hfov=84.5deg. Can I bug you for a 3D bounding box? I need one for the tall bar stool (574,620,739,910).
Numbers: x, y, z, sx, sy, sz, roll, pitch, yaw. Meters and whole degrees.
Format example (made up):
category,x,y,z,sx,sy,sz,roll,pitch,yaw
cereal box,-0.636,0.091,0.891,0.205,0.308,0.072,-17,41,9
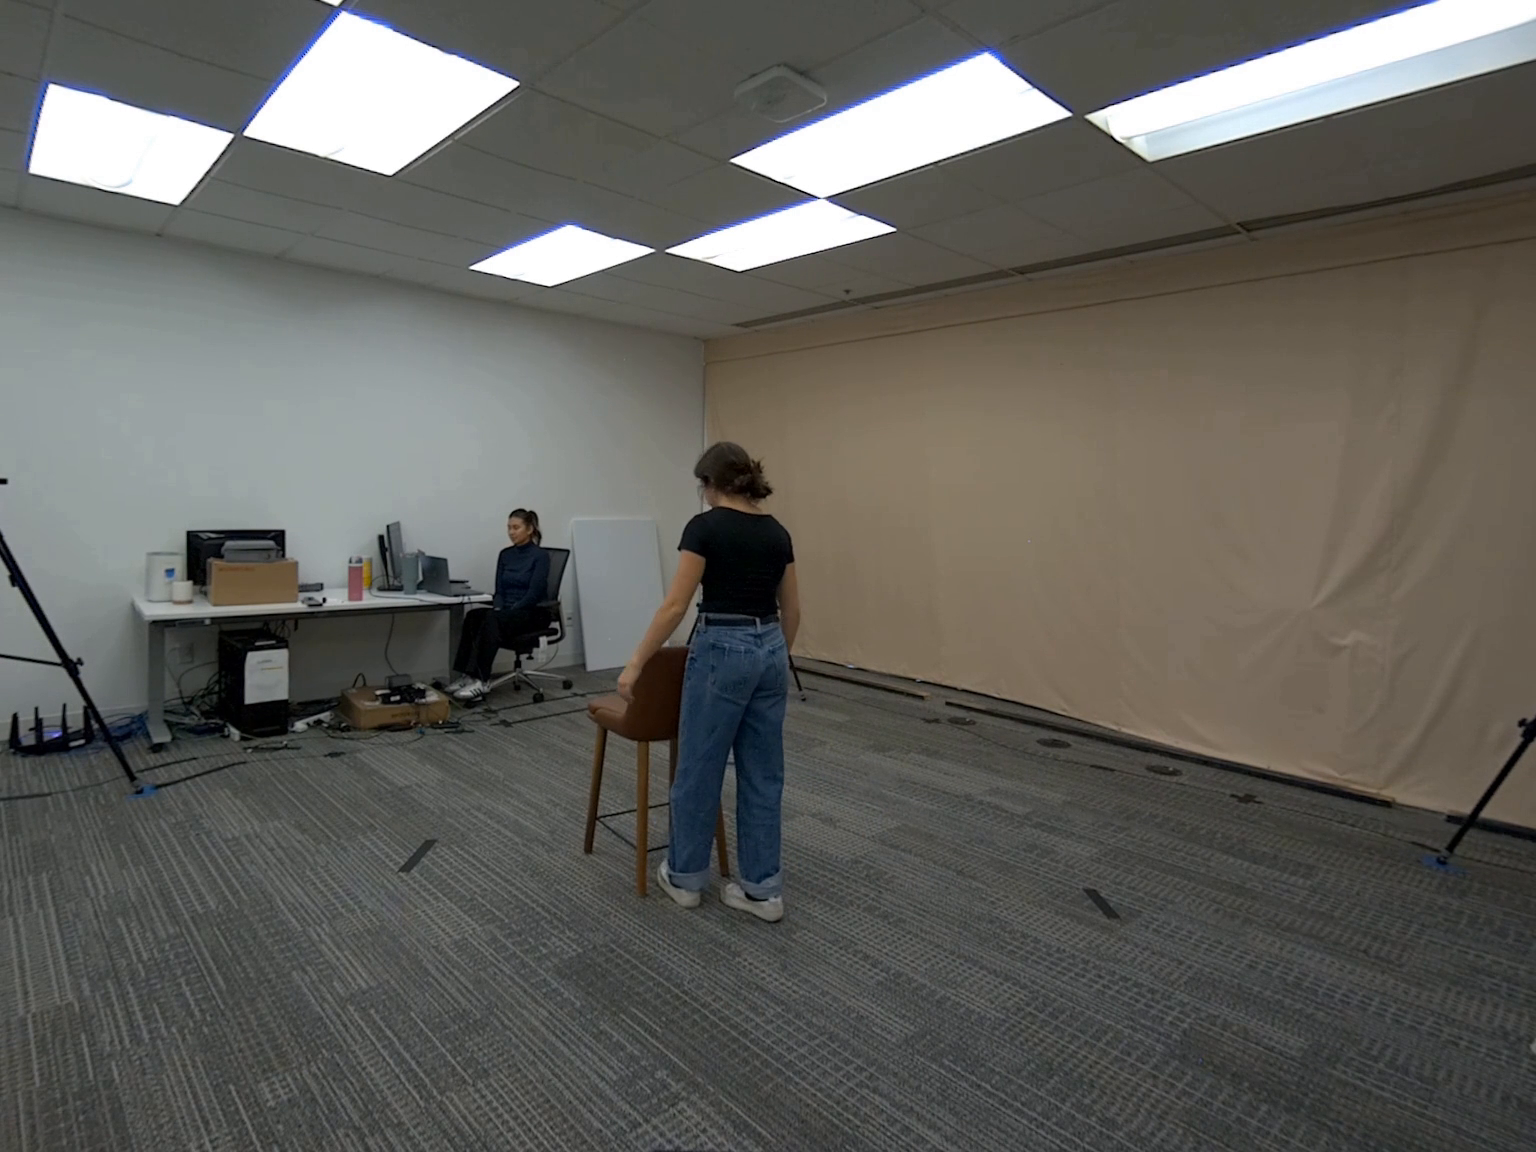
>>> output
category,x,y,z,sx,sy,sz,roll,pitch,yaw
tall bar stool,-0.414,0.661,3.178,0.447,0.886,0.479,-1,6,-35
